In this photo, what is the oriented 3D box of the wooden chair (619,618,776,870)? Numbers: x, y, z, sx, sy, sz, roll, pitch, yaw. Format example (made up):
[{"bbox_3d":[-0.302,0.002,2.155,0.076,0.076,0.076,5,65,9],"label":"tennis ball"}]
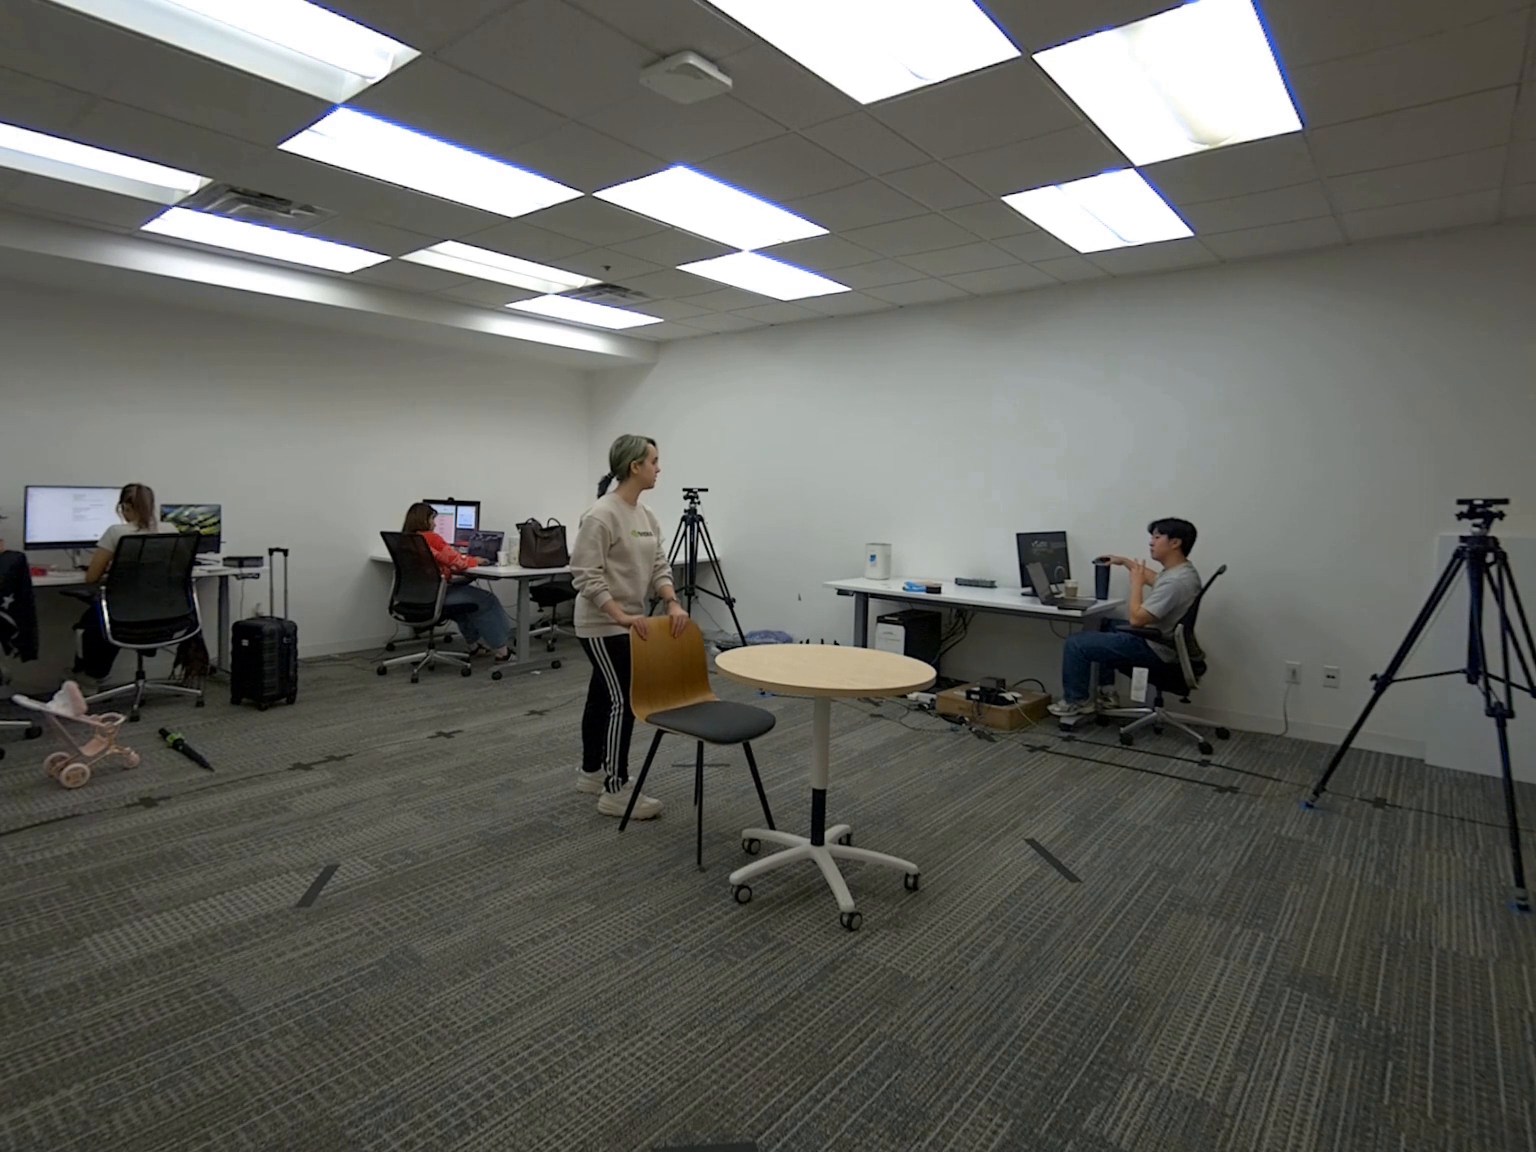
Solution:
[{"bbox_3d":[-0.278,0.610,3.416,0.539,0.878,0.463,-1,0,41],"label":"wooden chair"}]
